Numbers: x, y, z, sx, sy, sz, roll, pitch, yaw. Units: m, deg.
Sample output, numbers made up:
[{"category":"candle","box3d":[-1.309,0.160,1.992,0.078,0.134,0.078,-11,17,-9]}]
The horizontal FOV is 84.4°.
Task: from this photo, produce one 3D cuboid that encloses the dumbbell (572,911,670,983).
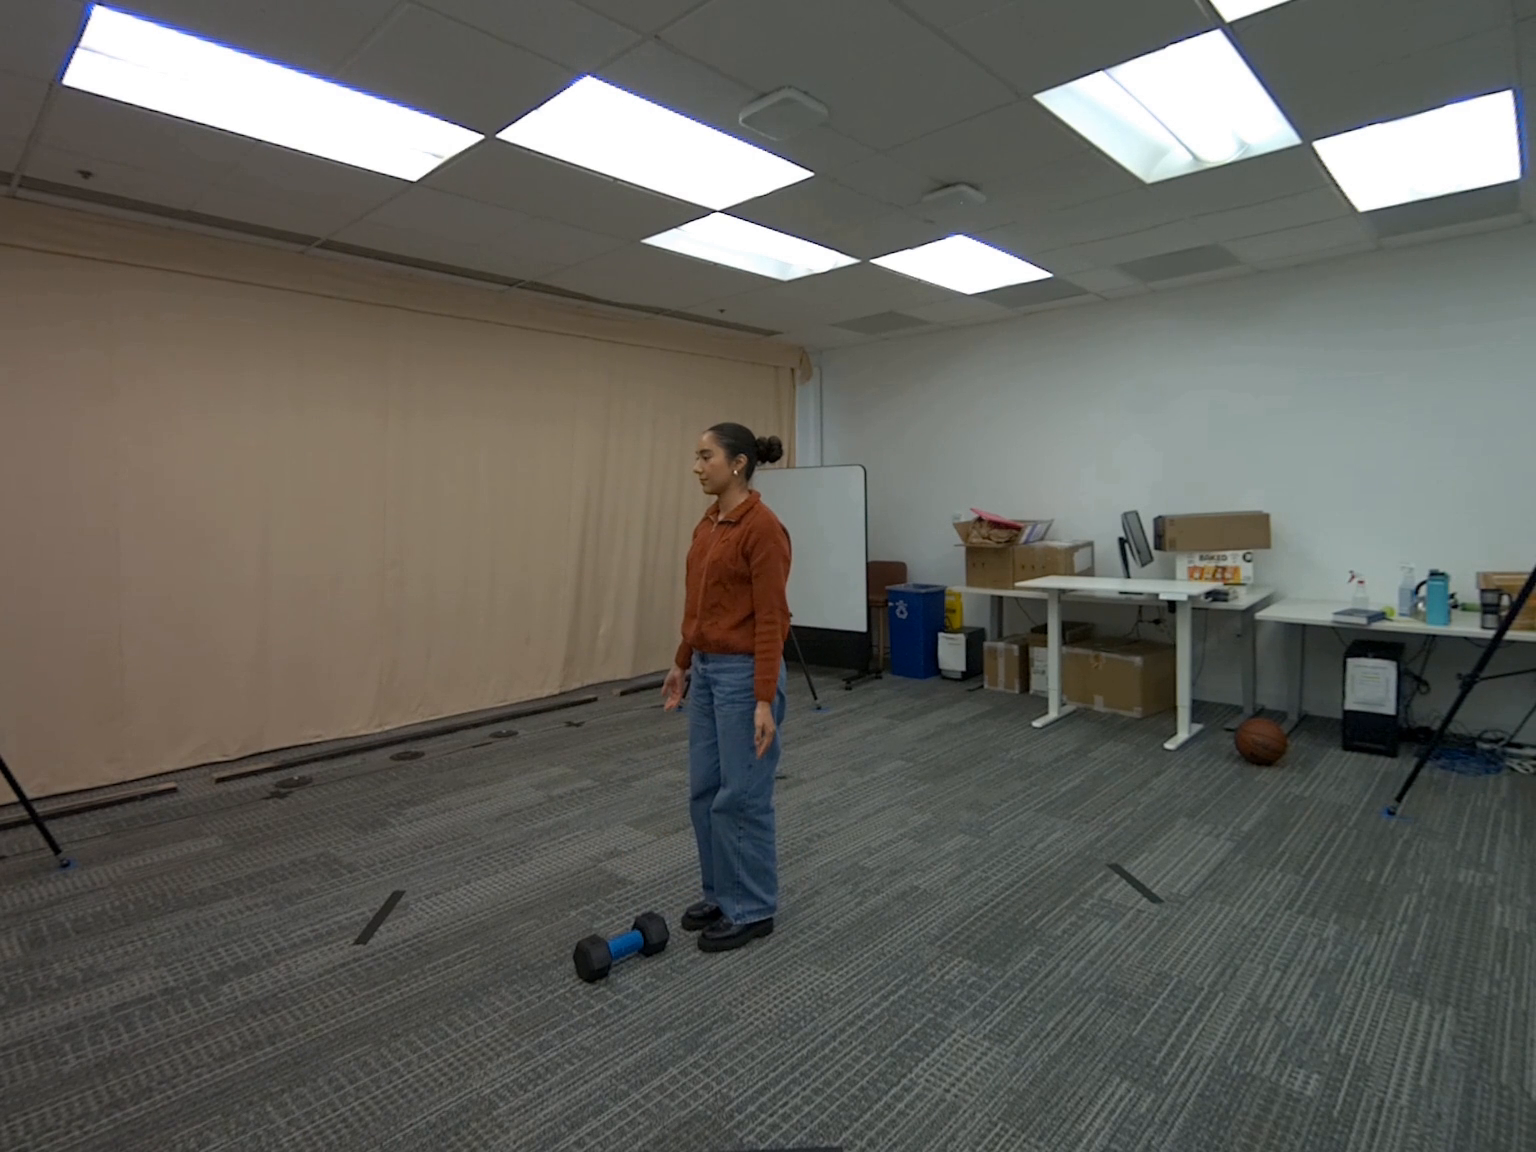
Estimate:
[{"category":"dumbbell","box3d":[-0.447,1.131,2.570,0.285,0.122,0.112,-5,36,-41]}]
